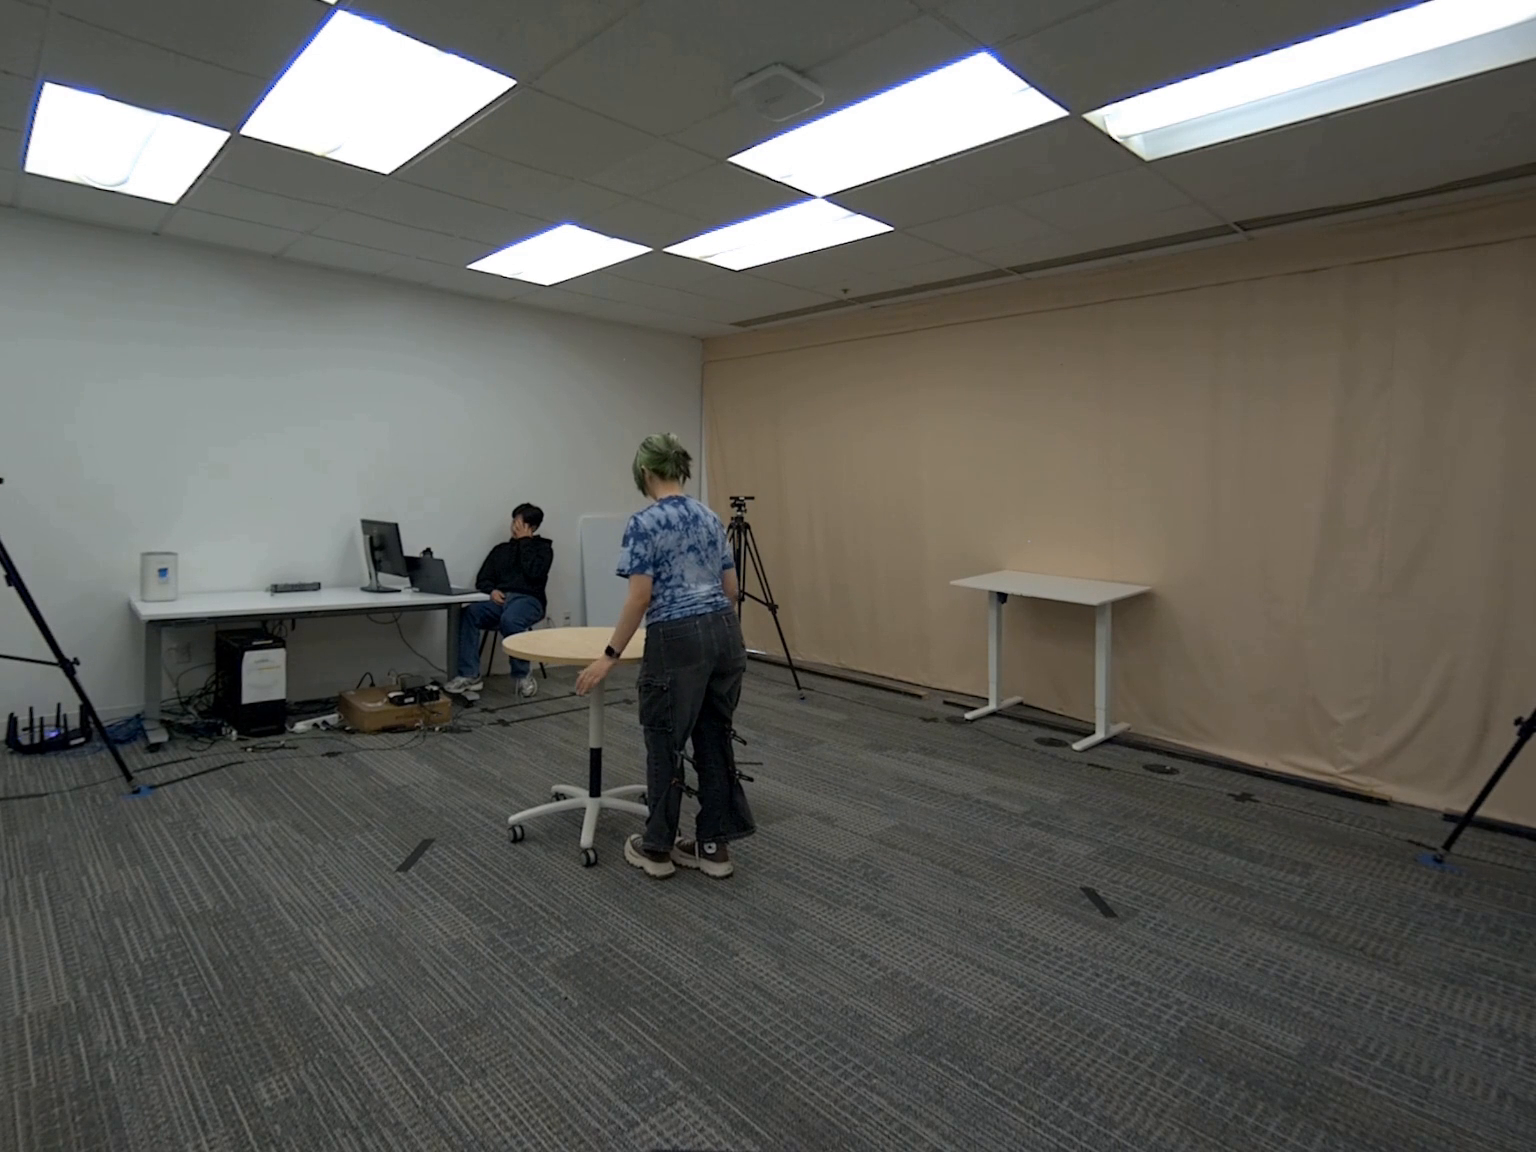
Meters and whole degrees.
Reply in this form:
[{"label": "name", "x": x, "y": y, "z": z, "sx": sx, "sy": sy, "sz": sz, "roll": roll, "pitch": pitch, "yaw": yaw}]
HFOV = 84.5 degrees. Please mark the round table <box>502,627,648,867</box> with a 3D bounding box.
[{"label": "round table", "x": -0.723, "y": 0.665, "z": 3.491, "sx": 0.763, "sy": 0.792, "sz": 0.766, "roll": 1, "pitch": 3, "yaw": -1}]
